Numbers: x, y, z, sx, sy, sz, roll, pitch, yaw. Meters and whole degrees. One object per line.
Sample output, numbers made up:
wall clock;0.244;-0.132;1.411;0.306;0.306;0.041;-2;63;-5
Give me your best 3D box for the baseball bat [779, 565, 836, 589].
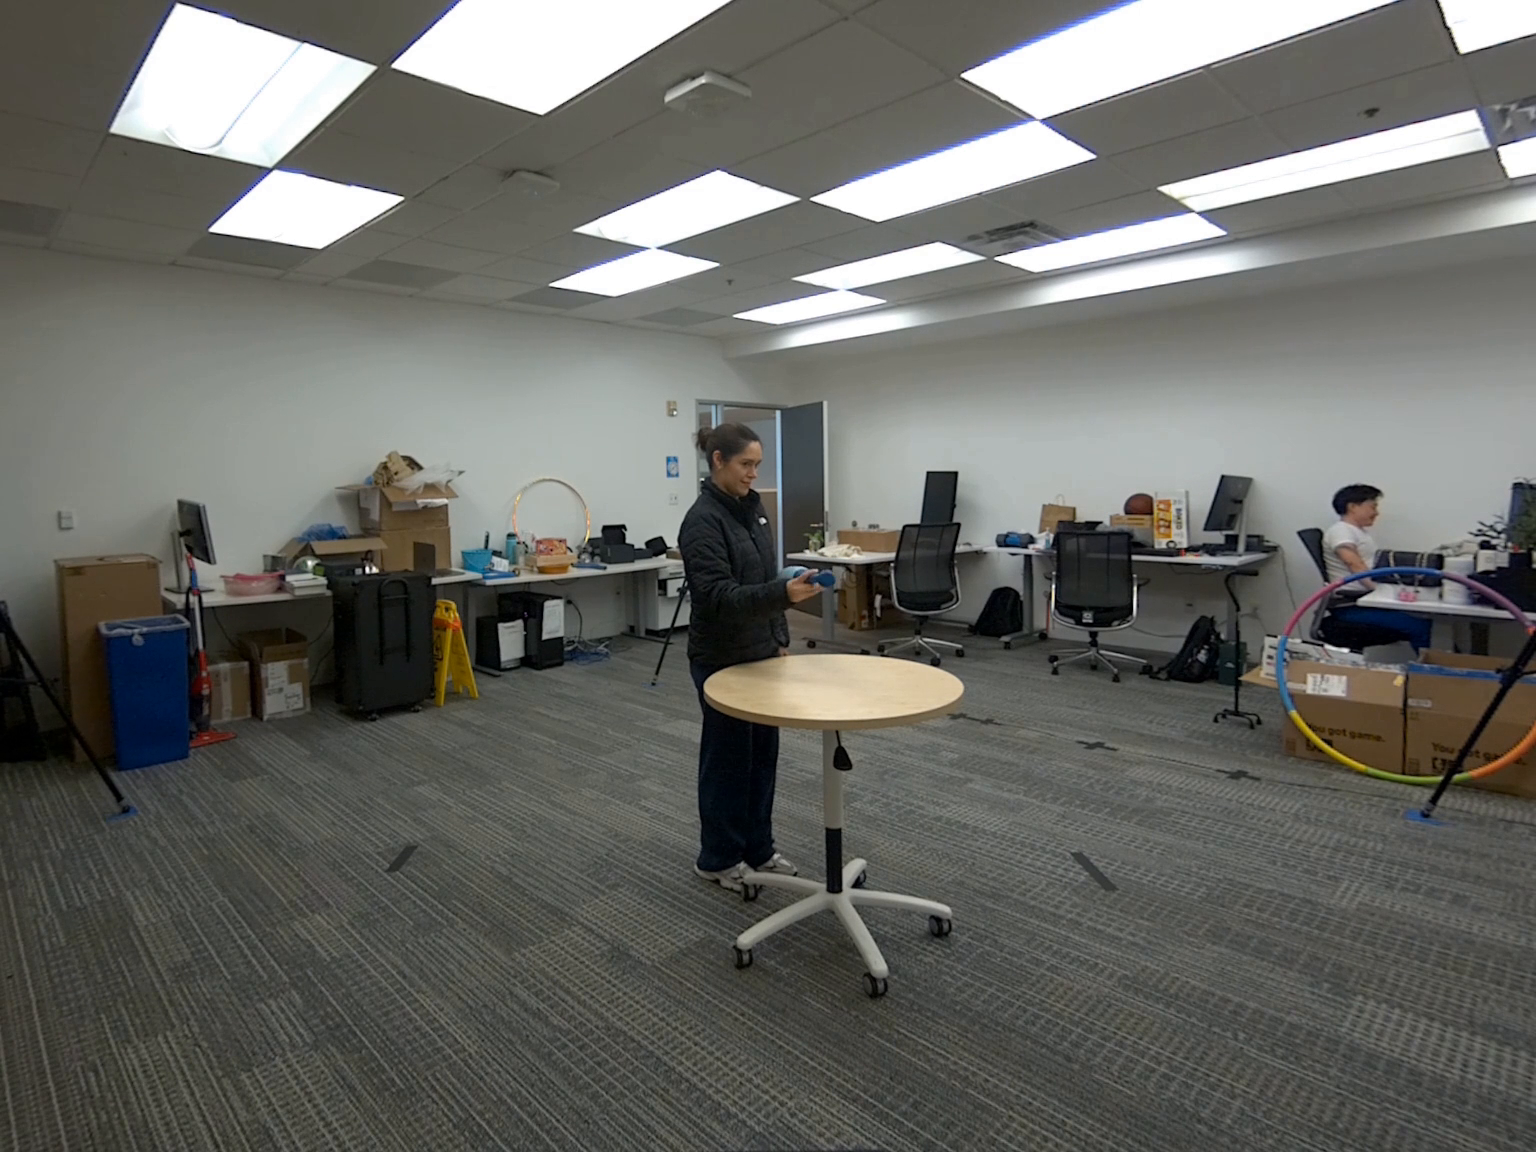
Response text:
baseball bat;0.125;0.008;2.630;0.088;0.089;0.545;-1;-1;-9
